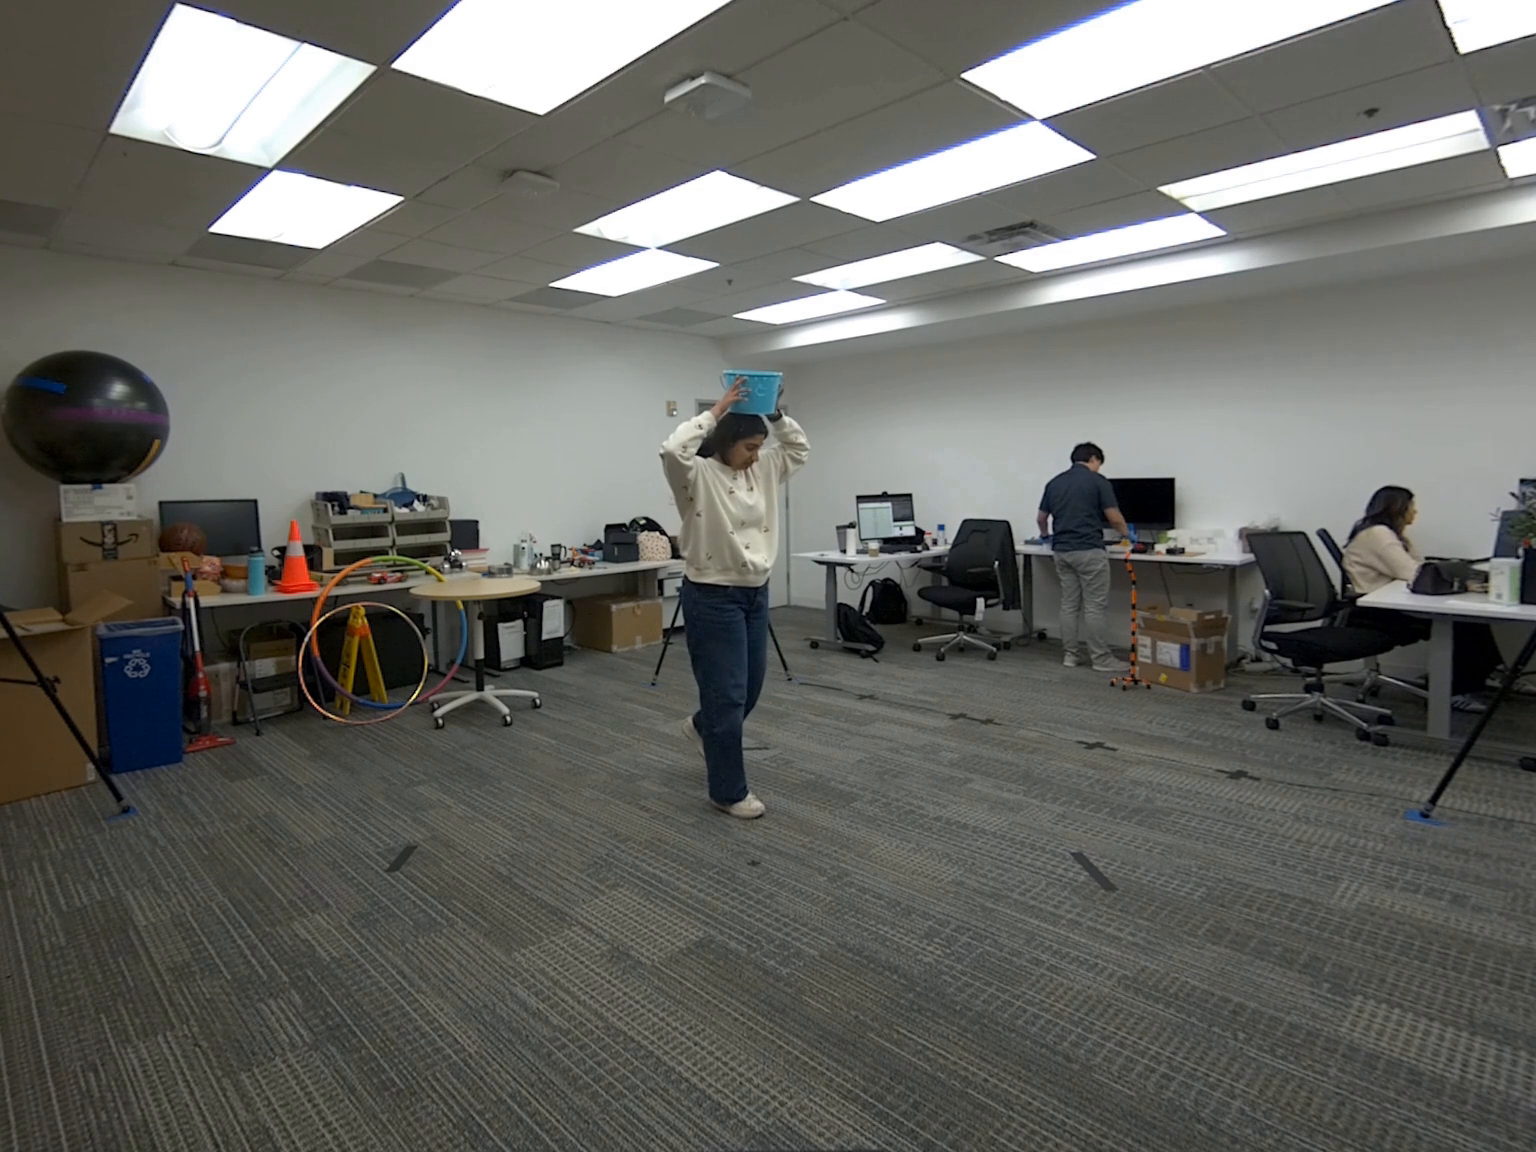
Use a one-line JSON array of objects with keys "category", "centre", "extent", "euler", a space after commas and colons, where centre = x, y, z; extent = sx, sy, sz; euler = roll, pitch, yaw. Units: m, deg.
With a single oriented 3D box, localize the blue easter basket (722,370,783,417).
[{"category": "blue easter basket", "centre": [-0.061, -0.719, 3.339], "extent": [0.243, 0.154, 0.247], "euler": [1, 15, -2]}]
